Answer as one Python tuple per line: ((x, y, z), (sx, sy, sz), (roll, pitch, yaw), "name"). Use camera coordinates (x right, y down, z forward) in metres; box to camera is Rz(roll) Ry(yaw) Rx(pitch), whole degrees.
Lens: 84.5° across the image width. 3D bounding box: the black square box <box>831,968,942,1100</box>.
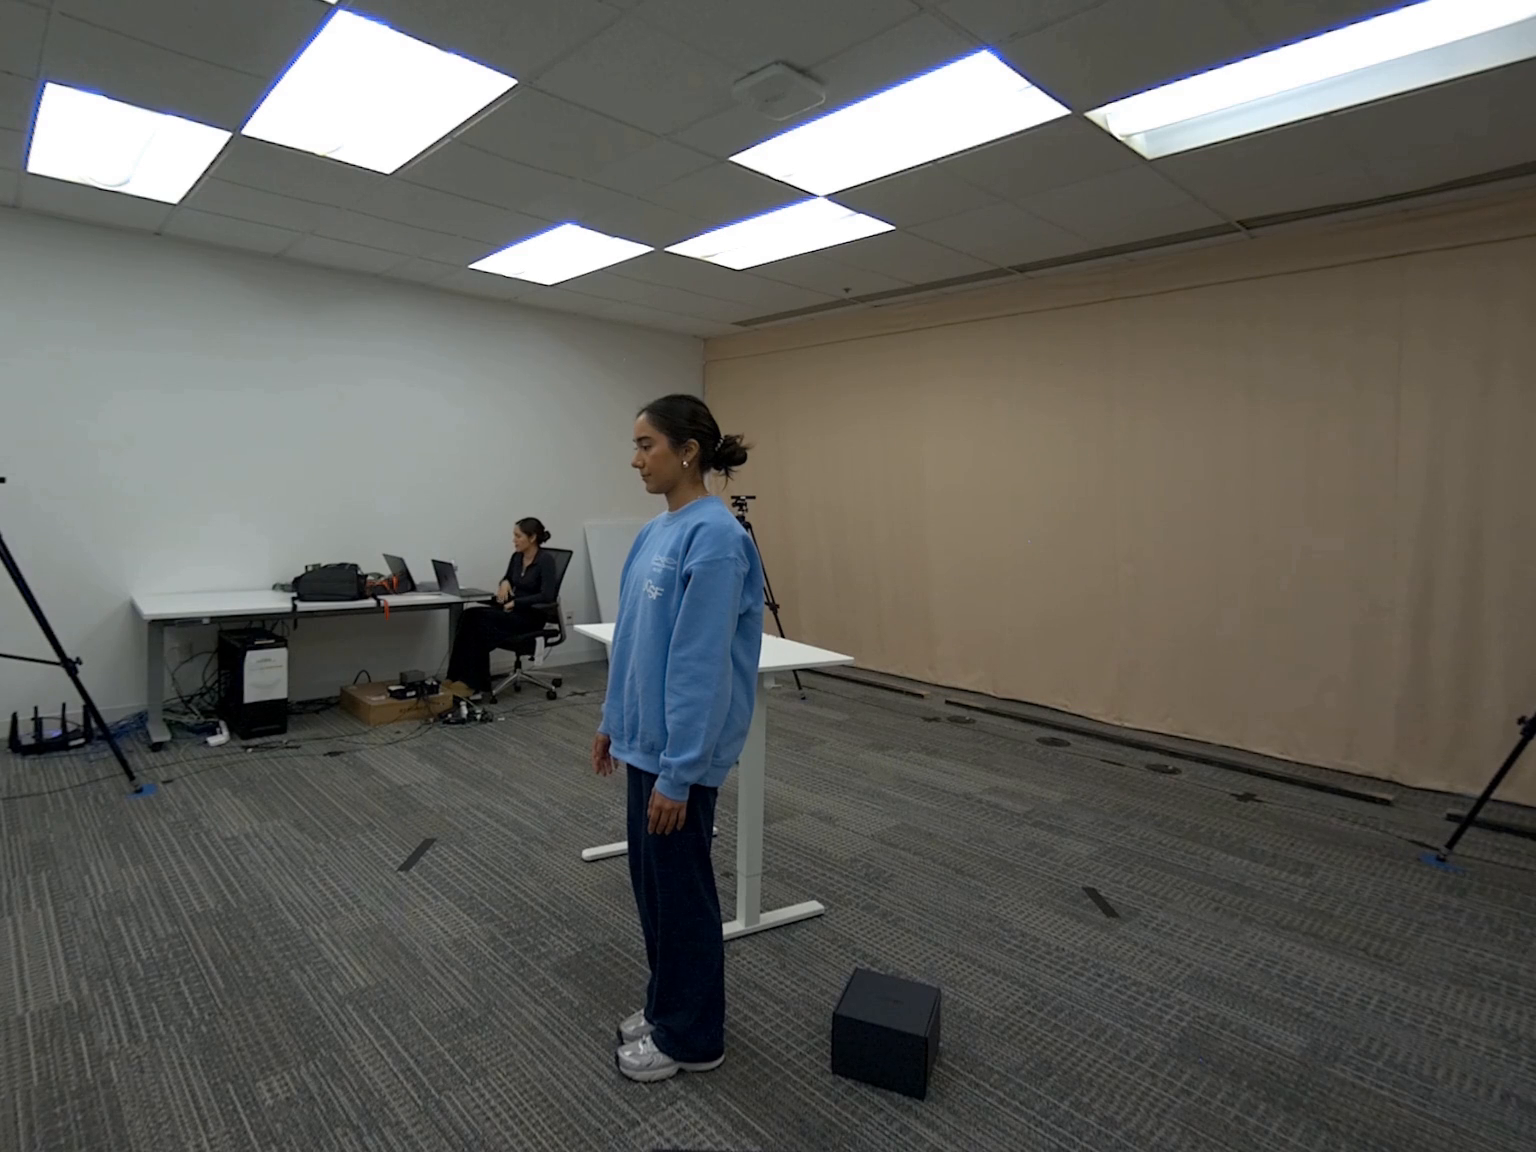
((0.295, 1.127, 2.088), (0.232, 0.155, 0.214), (3, 5, 21), "black square box")
